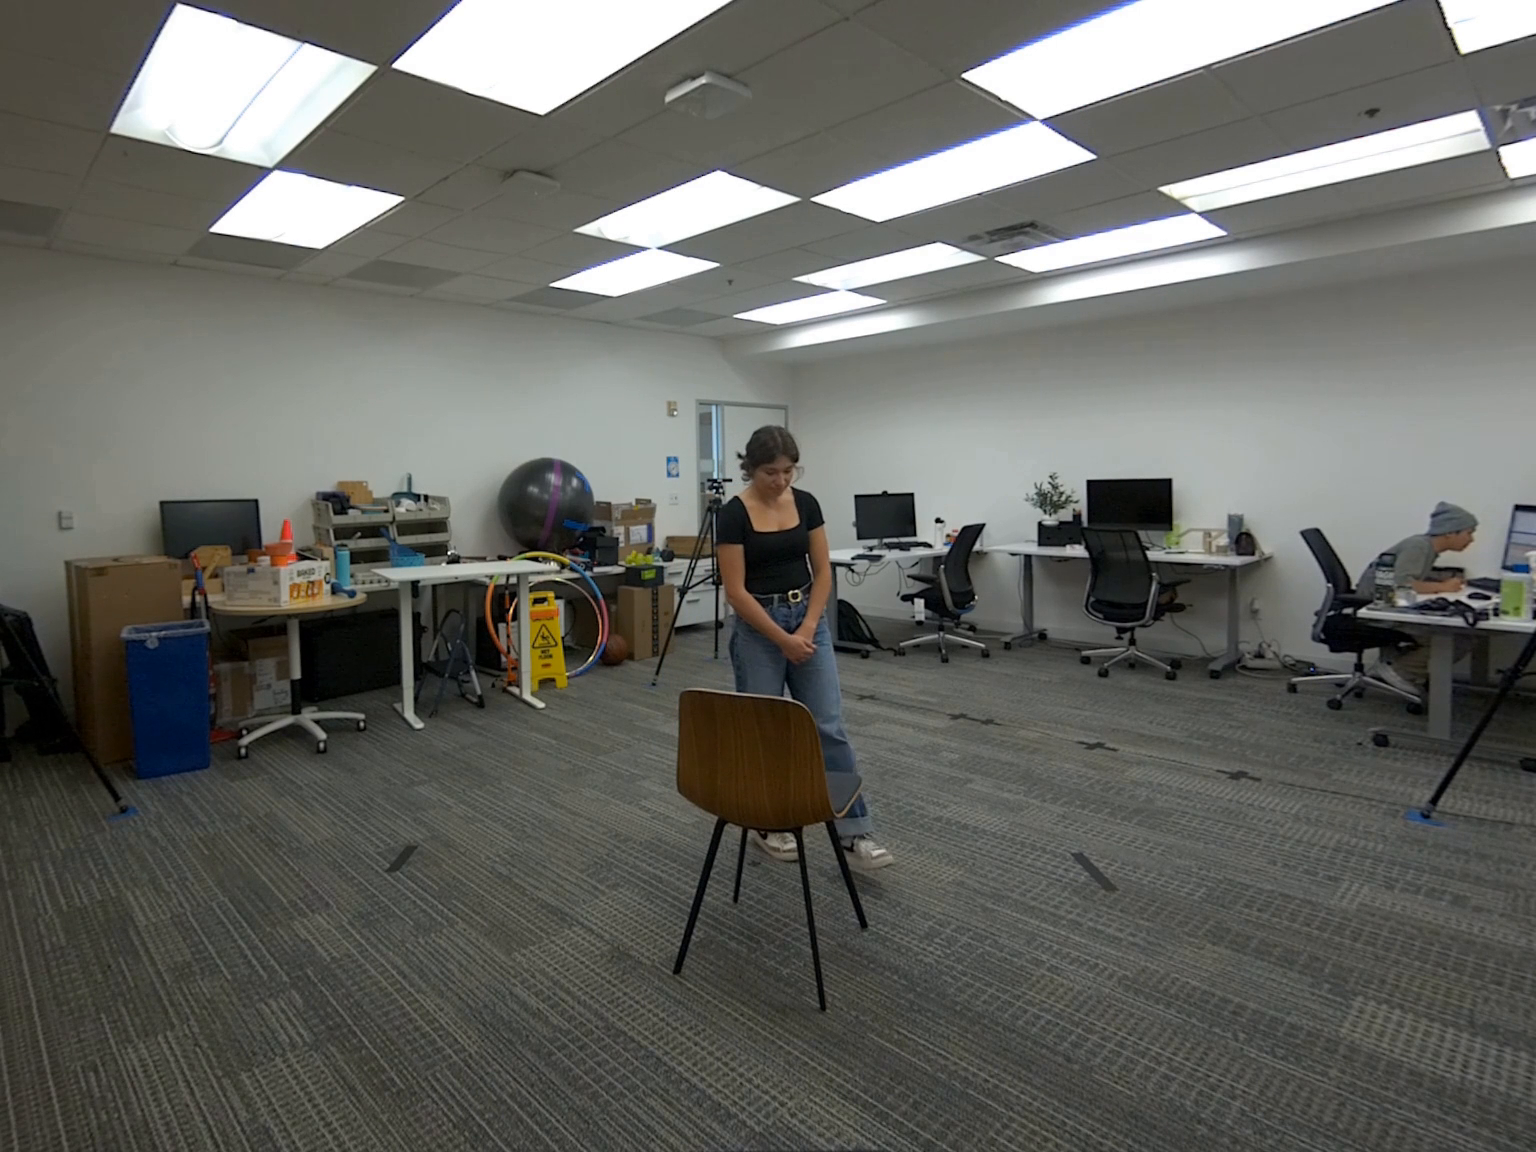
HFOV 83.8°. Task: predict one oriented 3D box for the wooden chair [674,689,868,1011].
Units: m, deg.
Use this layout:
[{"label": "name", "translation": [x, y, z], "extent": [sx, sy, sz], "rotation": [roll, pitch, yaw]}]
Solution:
[{"label": "wooden chair", "translation": [0.014, 0.688, 2.514], "extent": [0.488, 0.871, 0.516], "rotation": [1, 9, 23]}]
